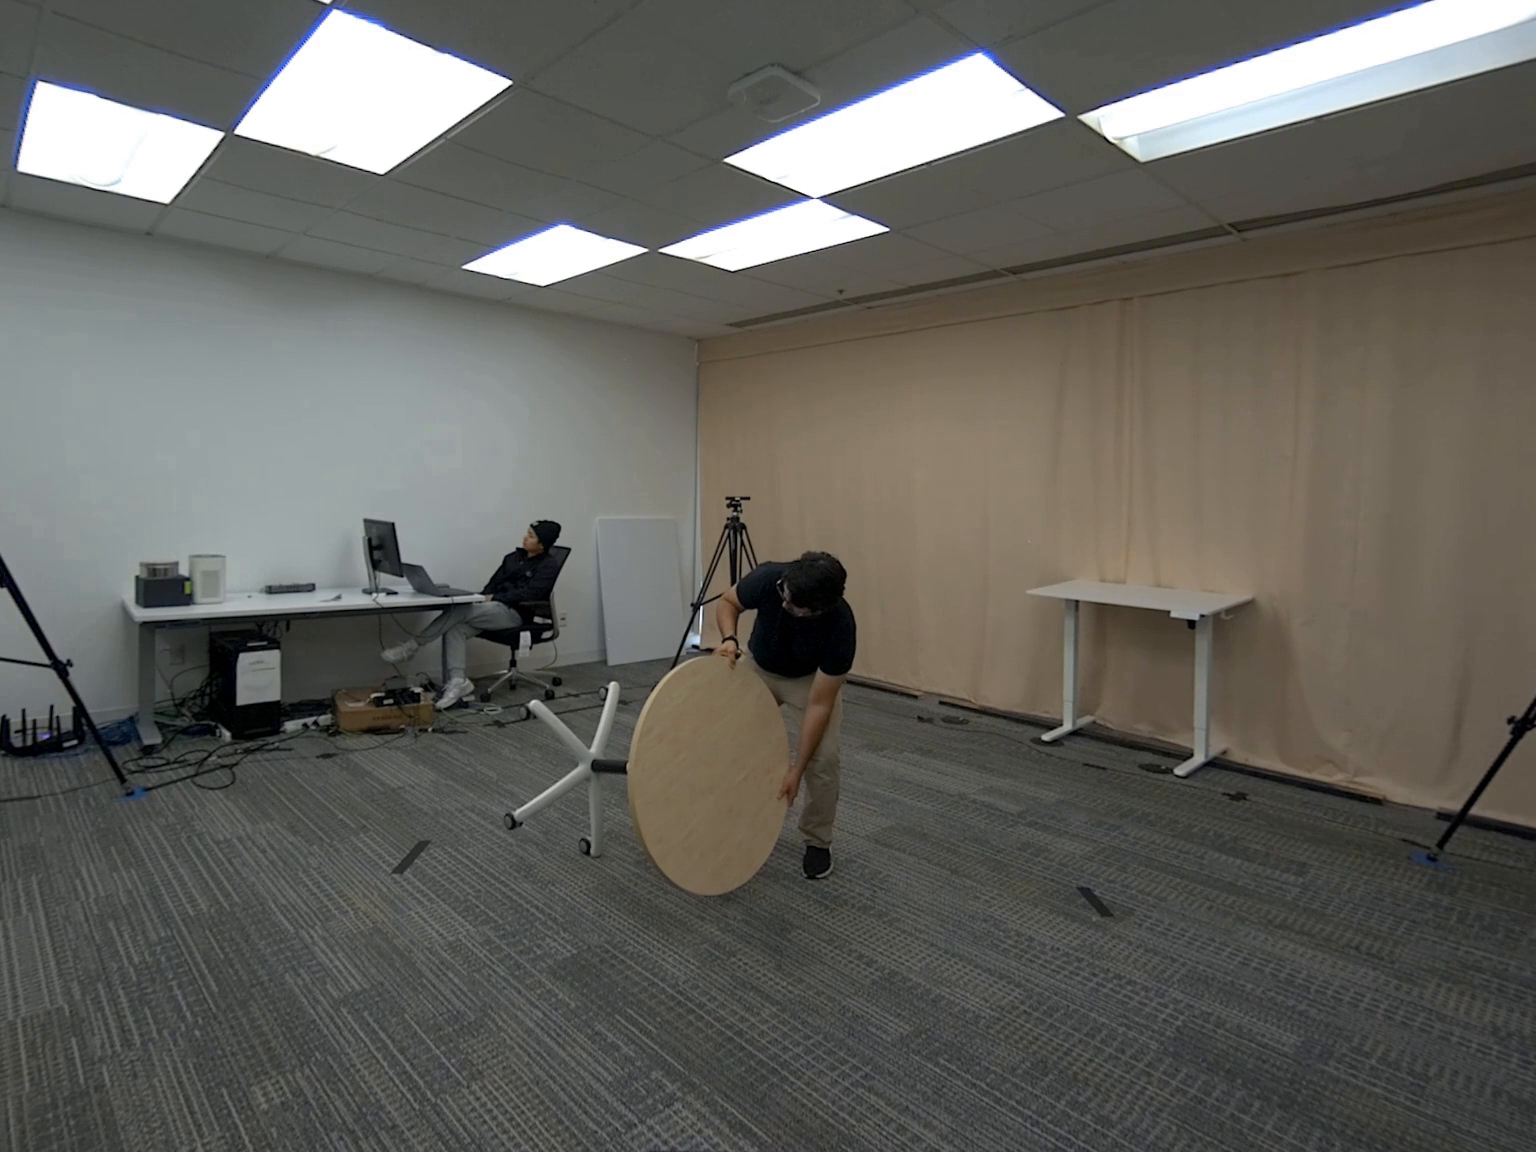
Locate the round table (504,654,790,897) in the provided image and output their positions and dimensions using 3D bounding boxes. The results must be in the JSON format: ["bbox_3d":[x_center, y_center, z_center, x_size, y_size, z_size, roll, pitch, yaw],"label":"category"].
[{"bbox_3d":[-0.474,0.688,3.054,0.802,0.787,0.768,-9,-4,40],"label":"round table"}]
